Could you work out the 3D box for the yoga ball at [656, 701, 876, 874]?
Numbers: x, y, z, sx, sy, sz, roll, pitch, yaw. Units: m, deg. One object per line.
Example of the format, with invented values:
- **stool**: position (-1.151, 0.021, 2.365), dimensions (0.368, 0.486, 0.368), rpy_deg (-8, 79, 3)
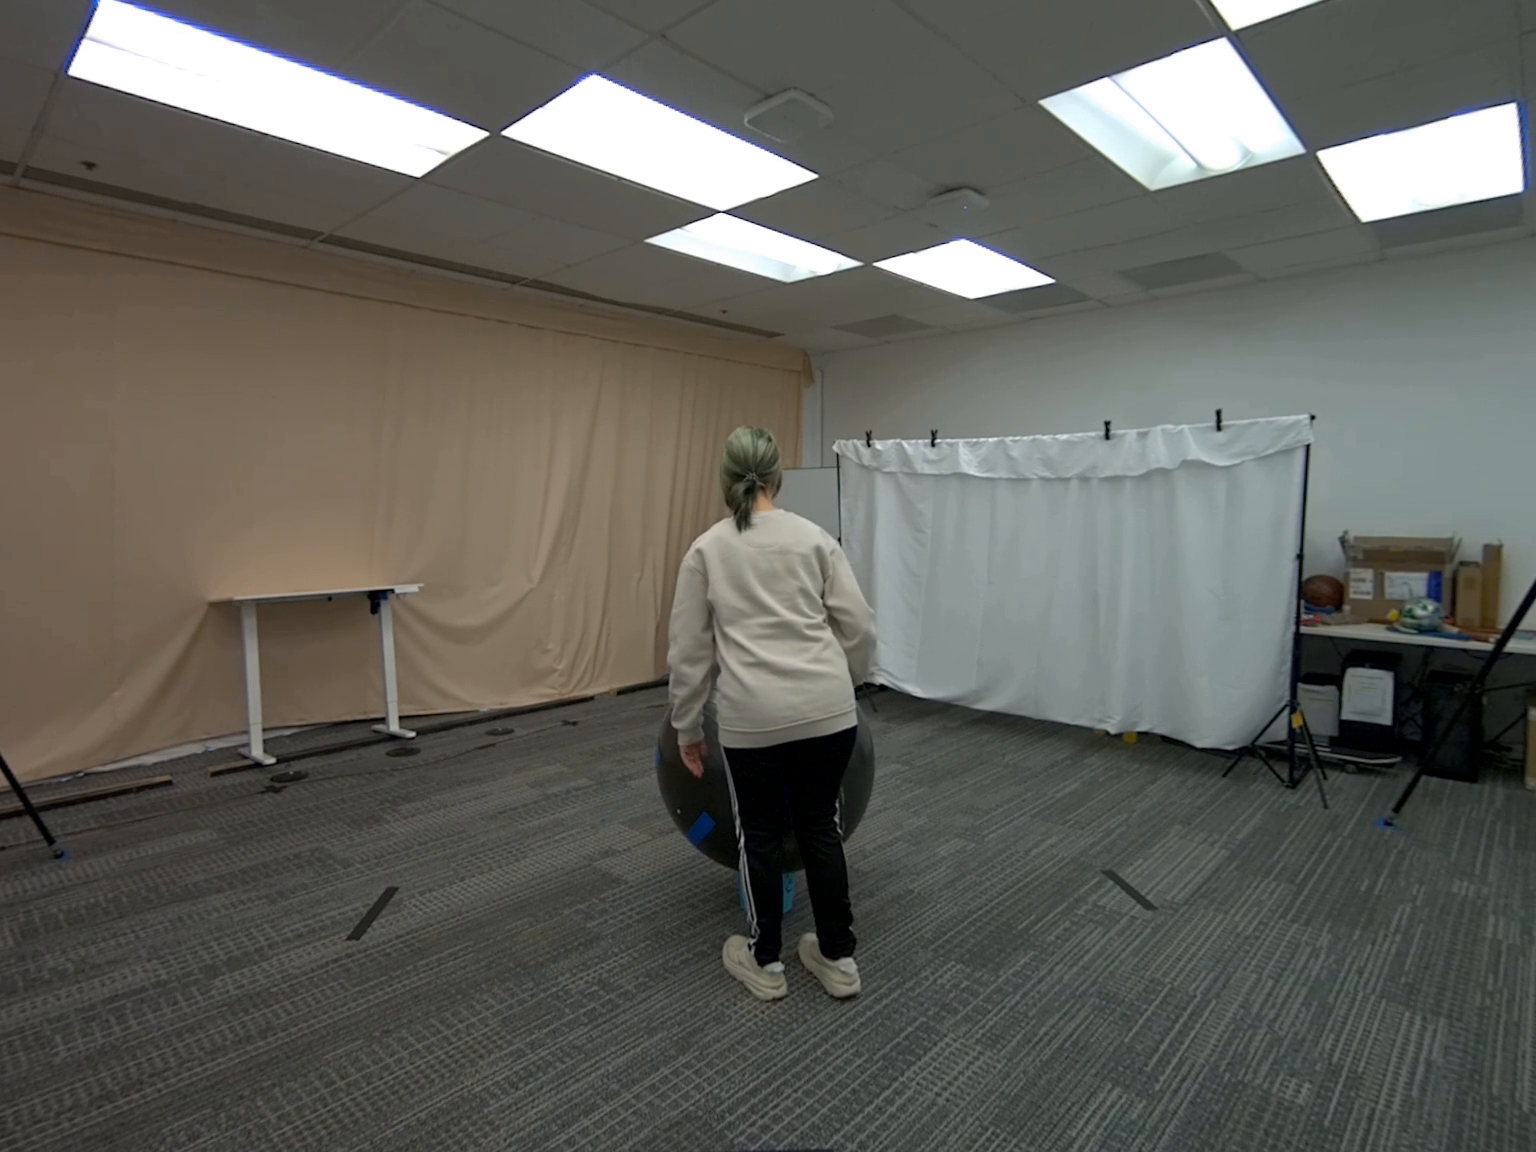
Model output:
- **yoga ball**: position (-0.007, 0.634, 2.928), dimensions (0.757, 0.756, 0.760), rpy_deg (0, 4, -2)
